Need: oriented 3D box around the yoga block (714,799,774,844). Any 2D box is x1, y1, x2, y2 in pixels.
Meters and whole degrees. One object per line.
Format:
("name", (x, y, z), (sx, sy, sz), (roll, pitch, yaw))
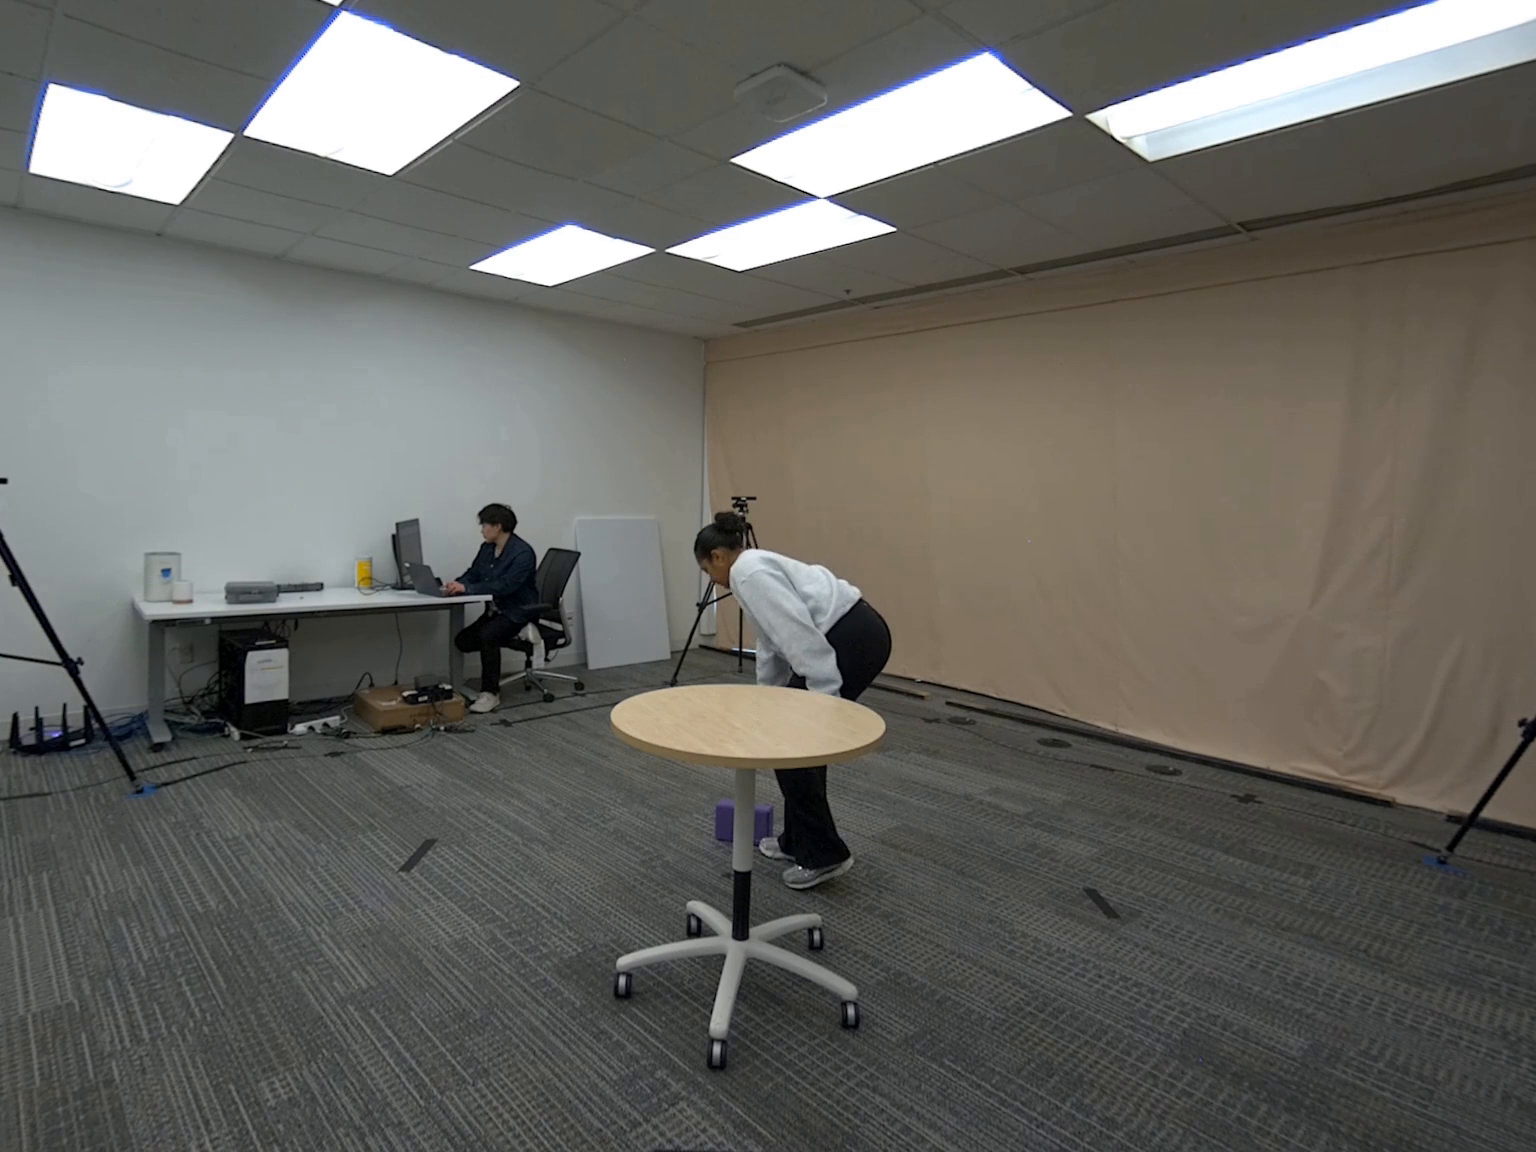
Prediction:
("yoga block", (-0.109, 1.005, 3.429), (0.233, 0.149, 0.075), (2, 1, 19))
